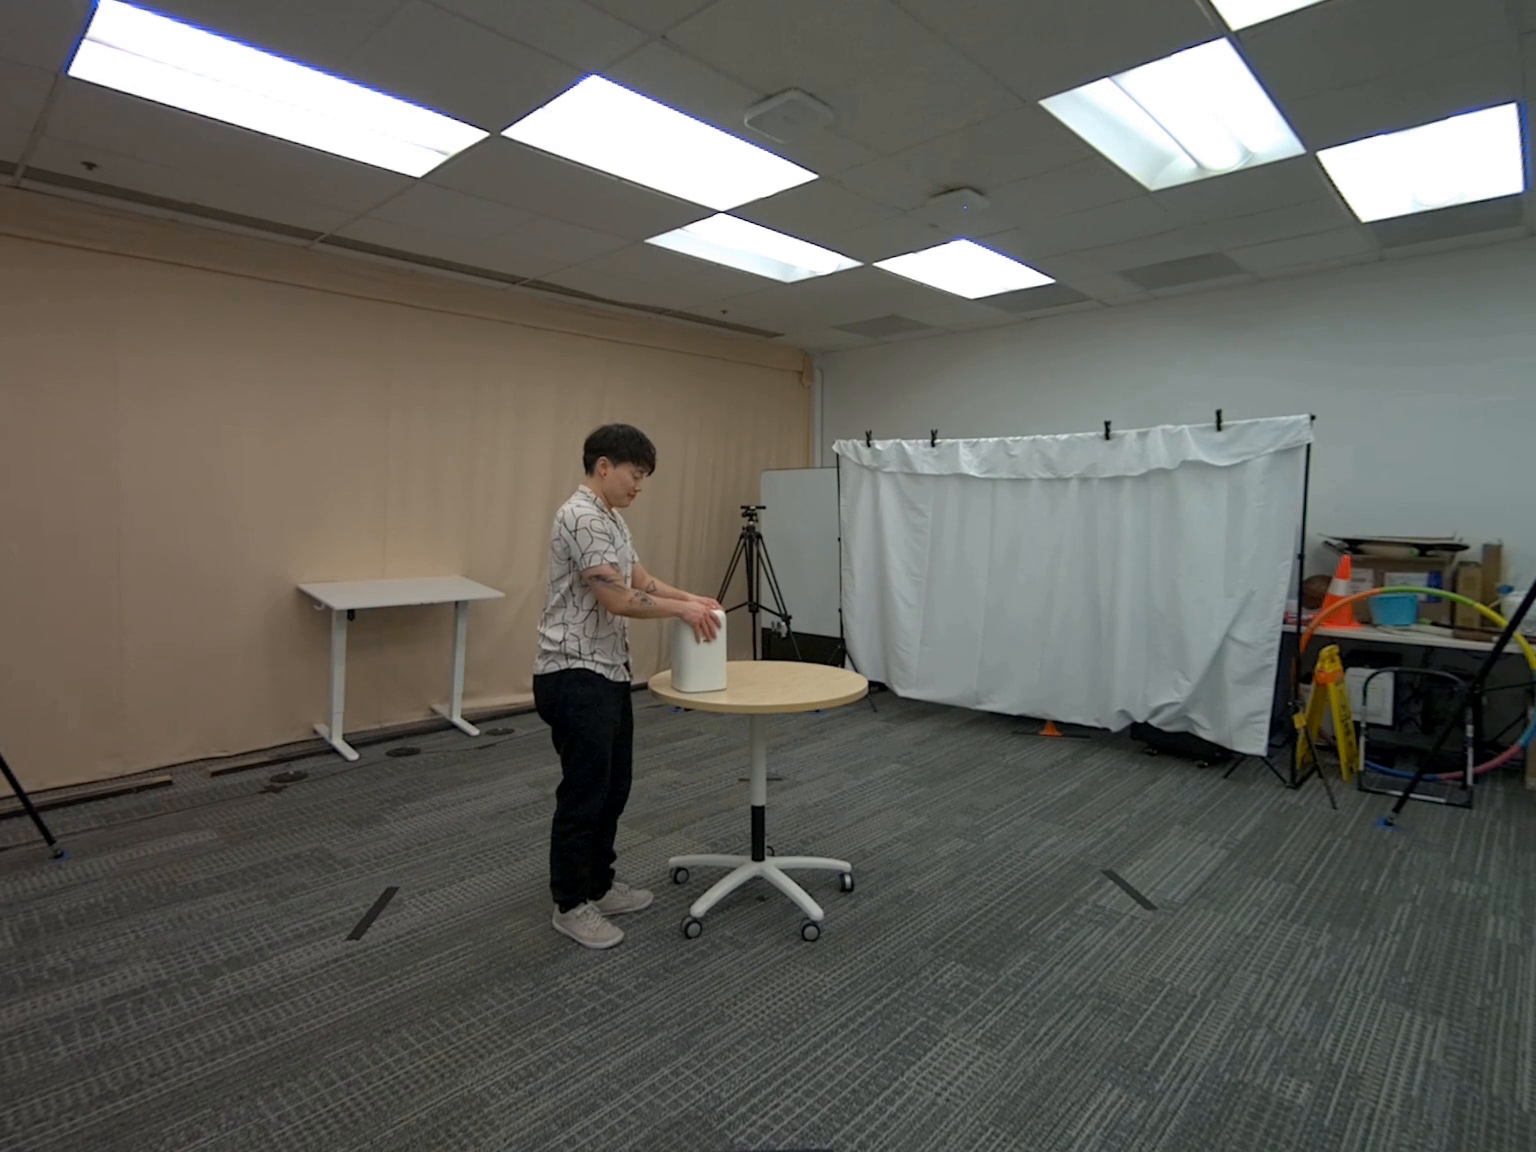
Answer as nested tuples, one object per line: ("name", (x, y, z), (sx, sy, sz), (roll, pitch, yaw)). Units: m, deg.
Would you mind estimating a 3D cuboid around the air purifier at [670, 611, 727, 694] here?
("air purifier", (-0.235, 0.247, 2.832), (0.168, 0.265, 0.175), (-1, 3, -19))
